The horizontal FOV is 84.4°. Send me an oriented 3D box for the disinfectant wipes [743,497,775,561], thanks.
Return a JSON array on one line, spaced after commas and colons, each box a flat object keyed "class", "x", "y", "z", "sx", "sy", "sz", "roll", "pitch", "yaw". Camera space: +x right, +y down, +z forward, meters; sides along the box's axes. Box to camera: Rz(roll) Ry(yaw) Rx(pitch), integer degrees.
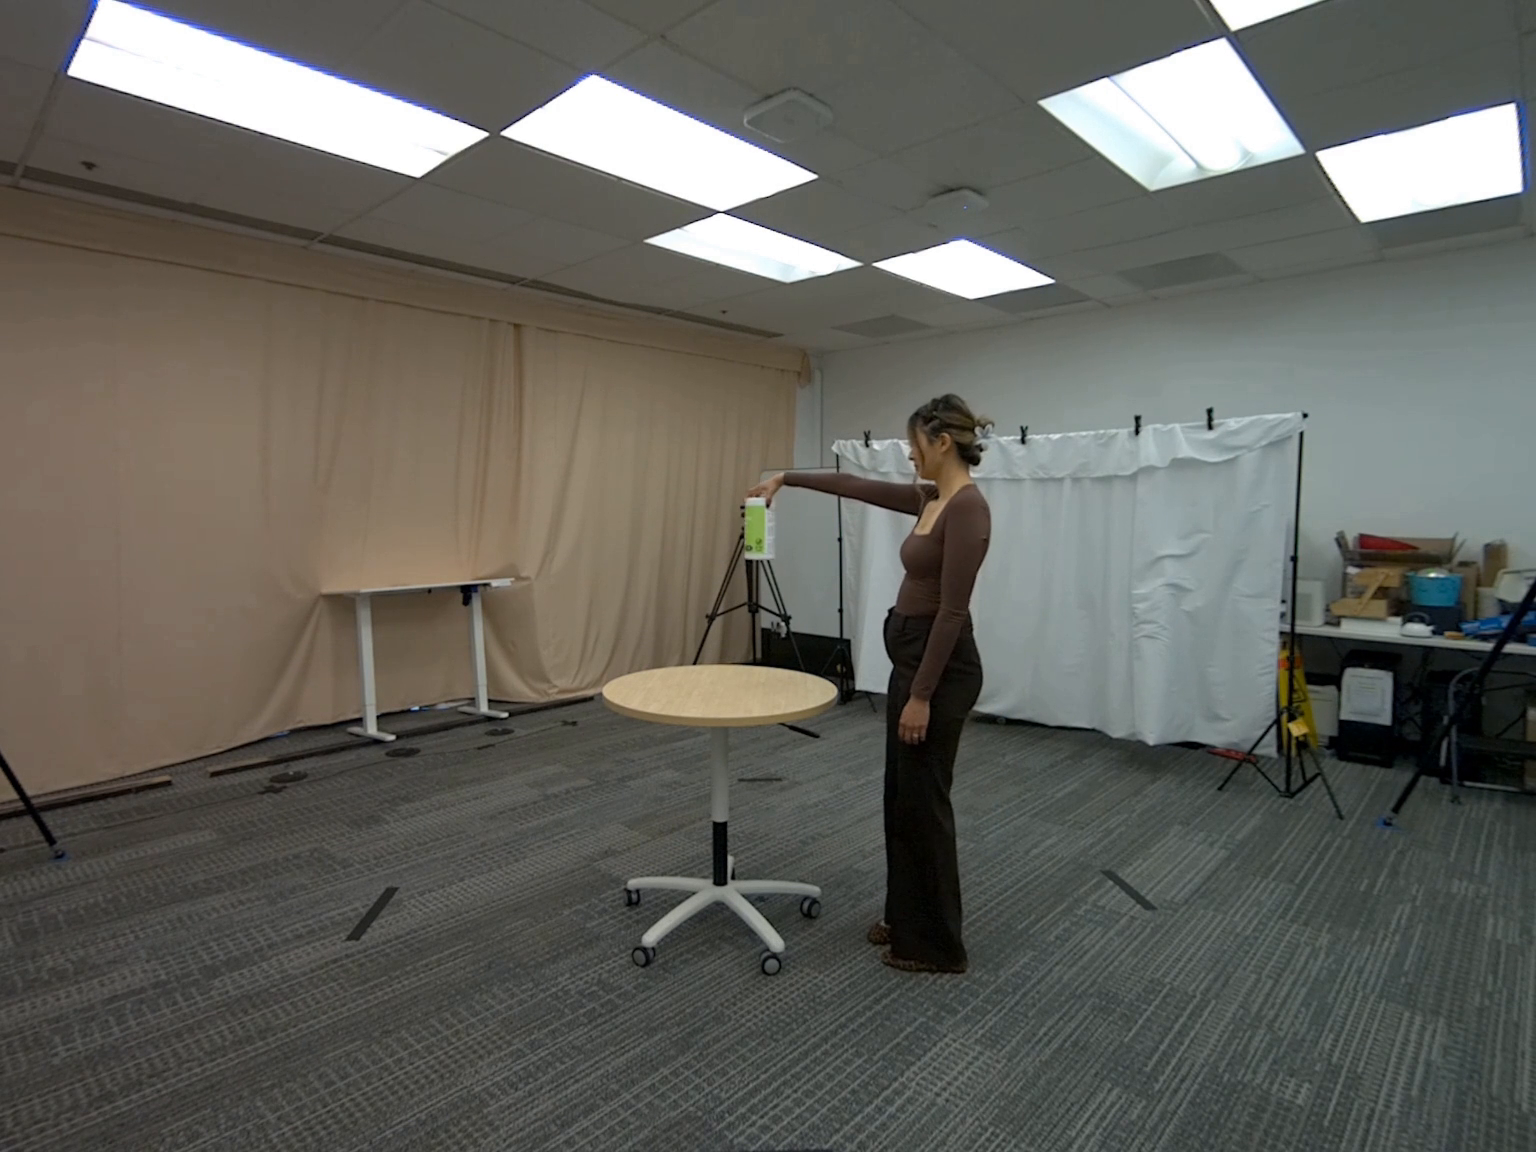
[{"class": "disinfectant wipes", "x": -0.020, "y": -0.166, "z": 2.952, "sx": 0.118, "sy": 0.217, "sz": 0.118, "roll": 0, "pitch": 2, "yaw": -2}]
